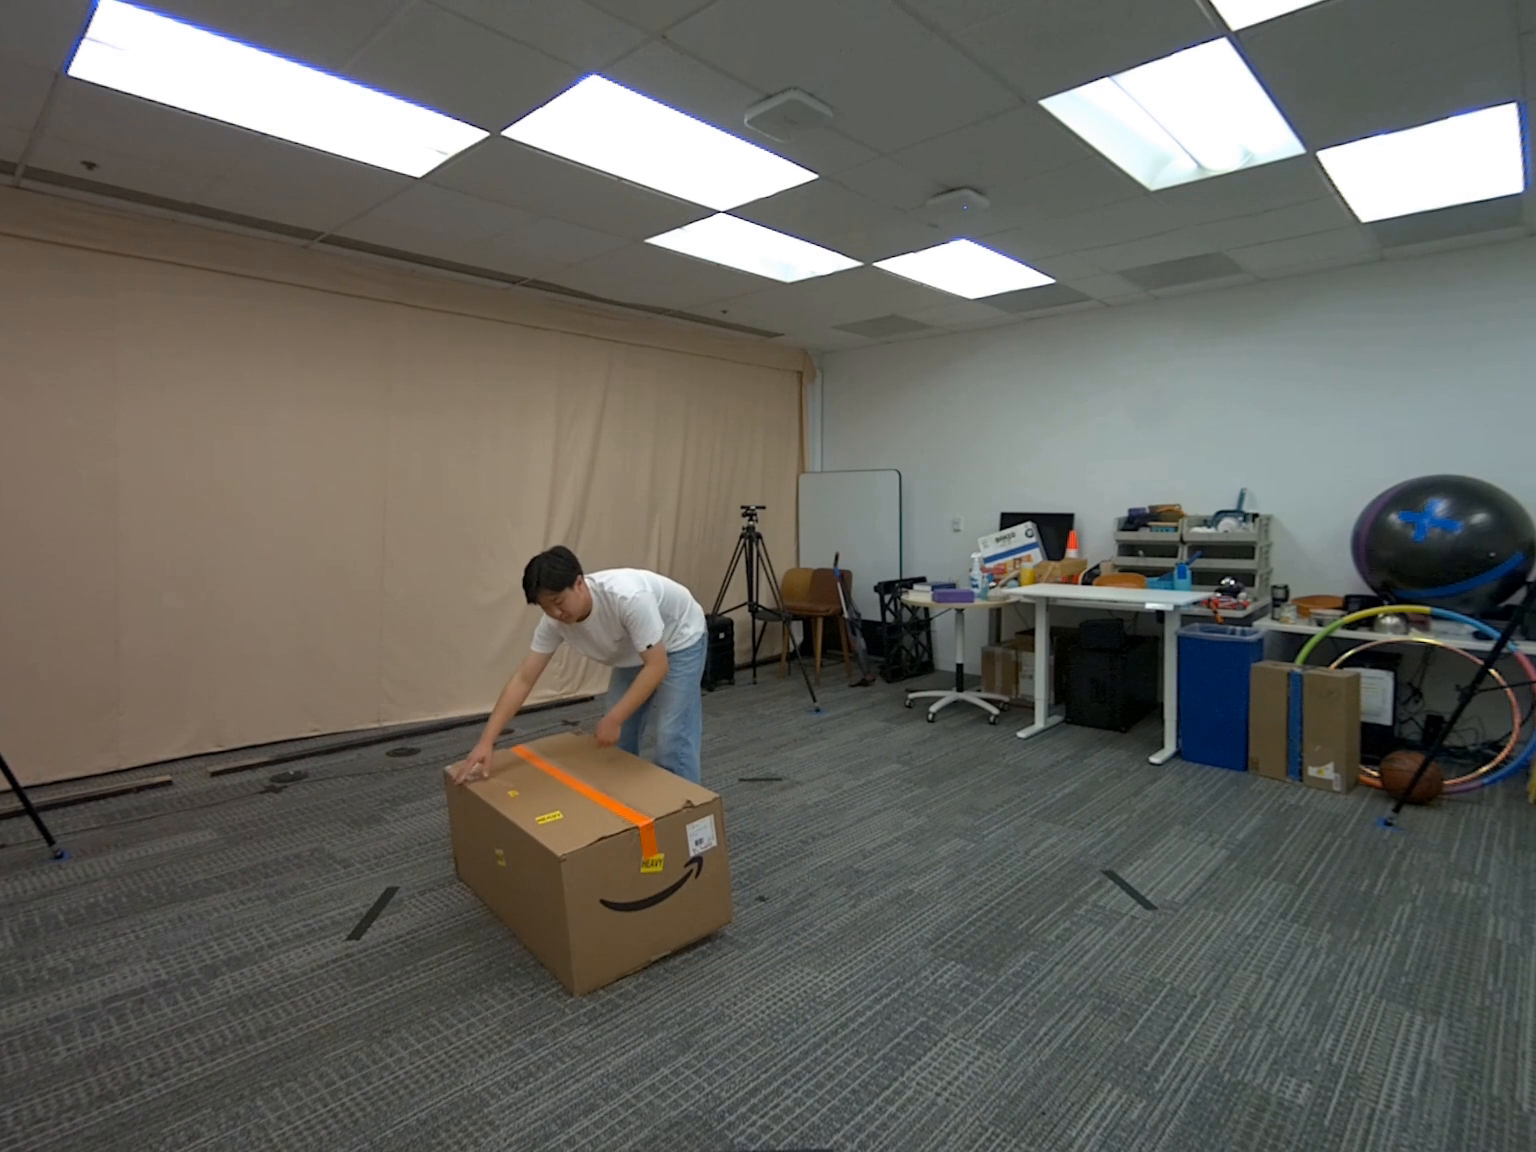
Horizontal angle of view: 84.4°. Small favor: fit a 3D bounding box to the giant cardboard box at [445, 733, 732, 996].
[{"bbox_3d":[-0.661,0.911,2.939,0.562,0.424,1.059,-11,10,-37],"label":"giant cardboard box"}]
